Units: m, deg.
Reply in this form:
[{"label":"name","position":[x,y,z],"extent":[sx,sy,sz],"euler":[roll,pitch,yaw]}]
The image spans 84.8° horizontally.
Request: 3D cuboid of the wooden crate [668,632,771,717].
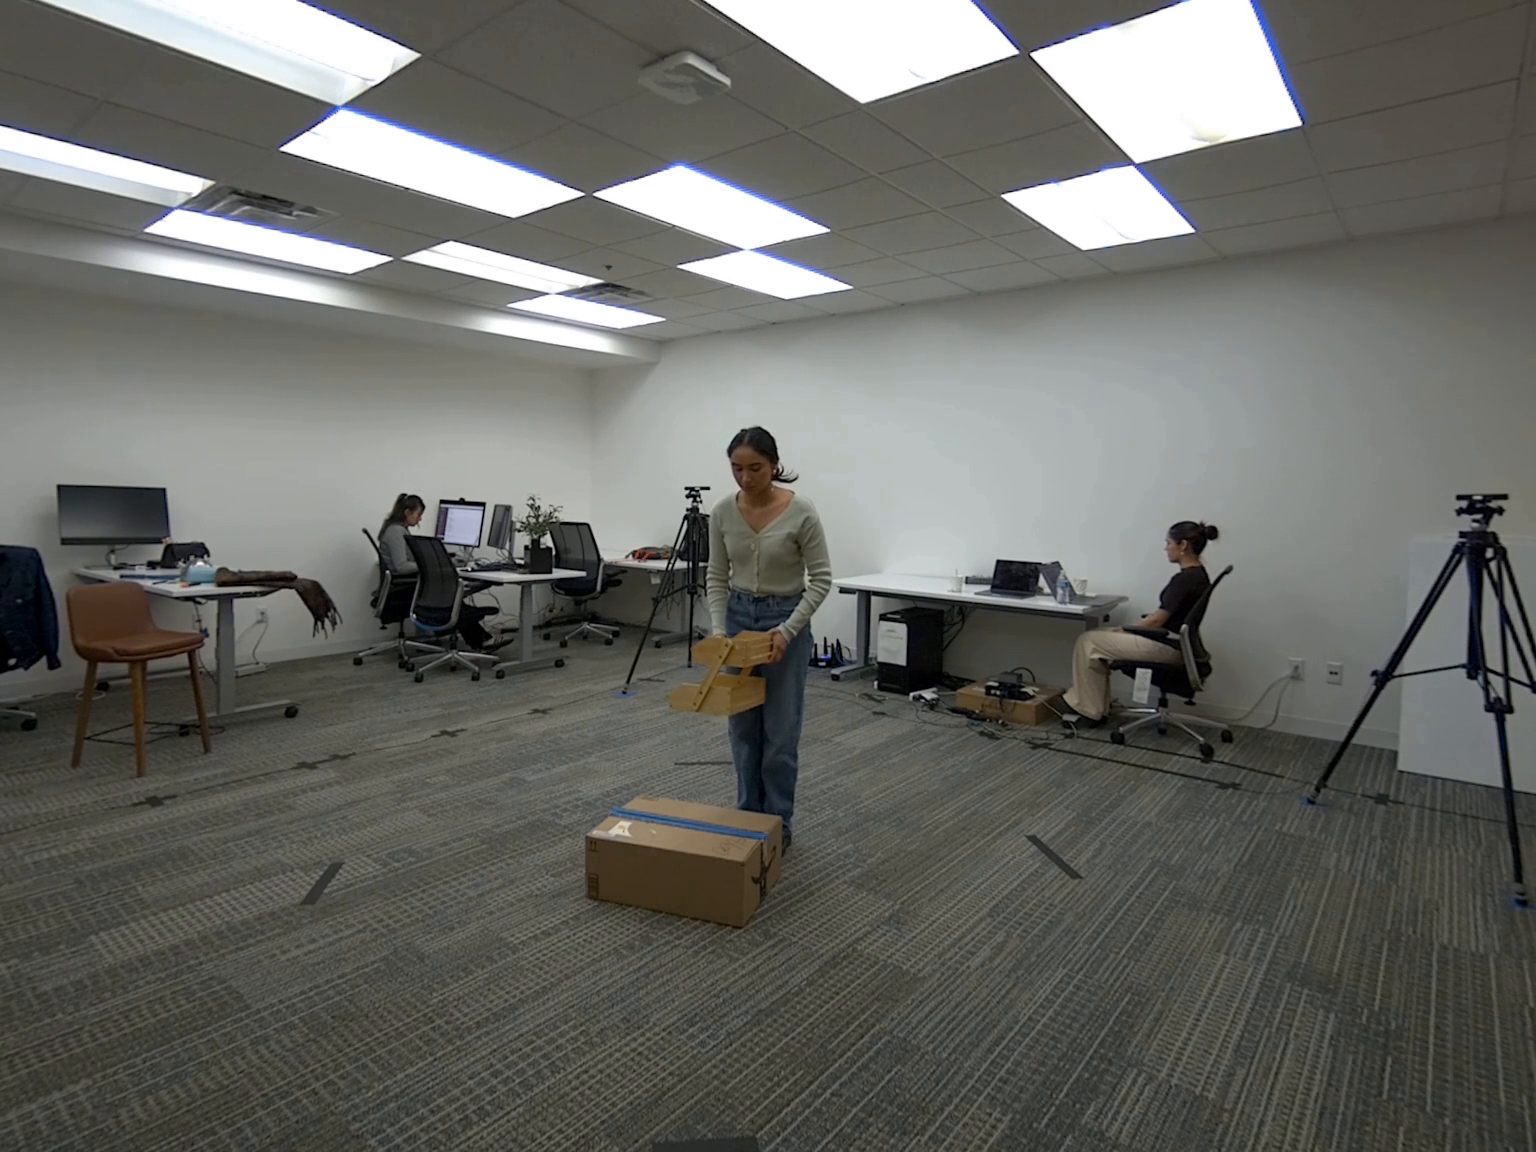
[{"label":"wooden crate","position":[-0.176,0.334,3.047],"extent":[0.310,0.273,0.316],"euler":[2,1,25]}]
